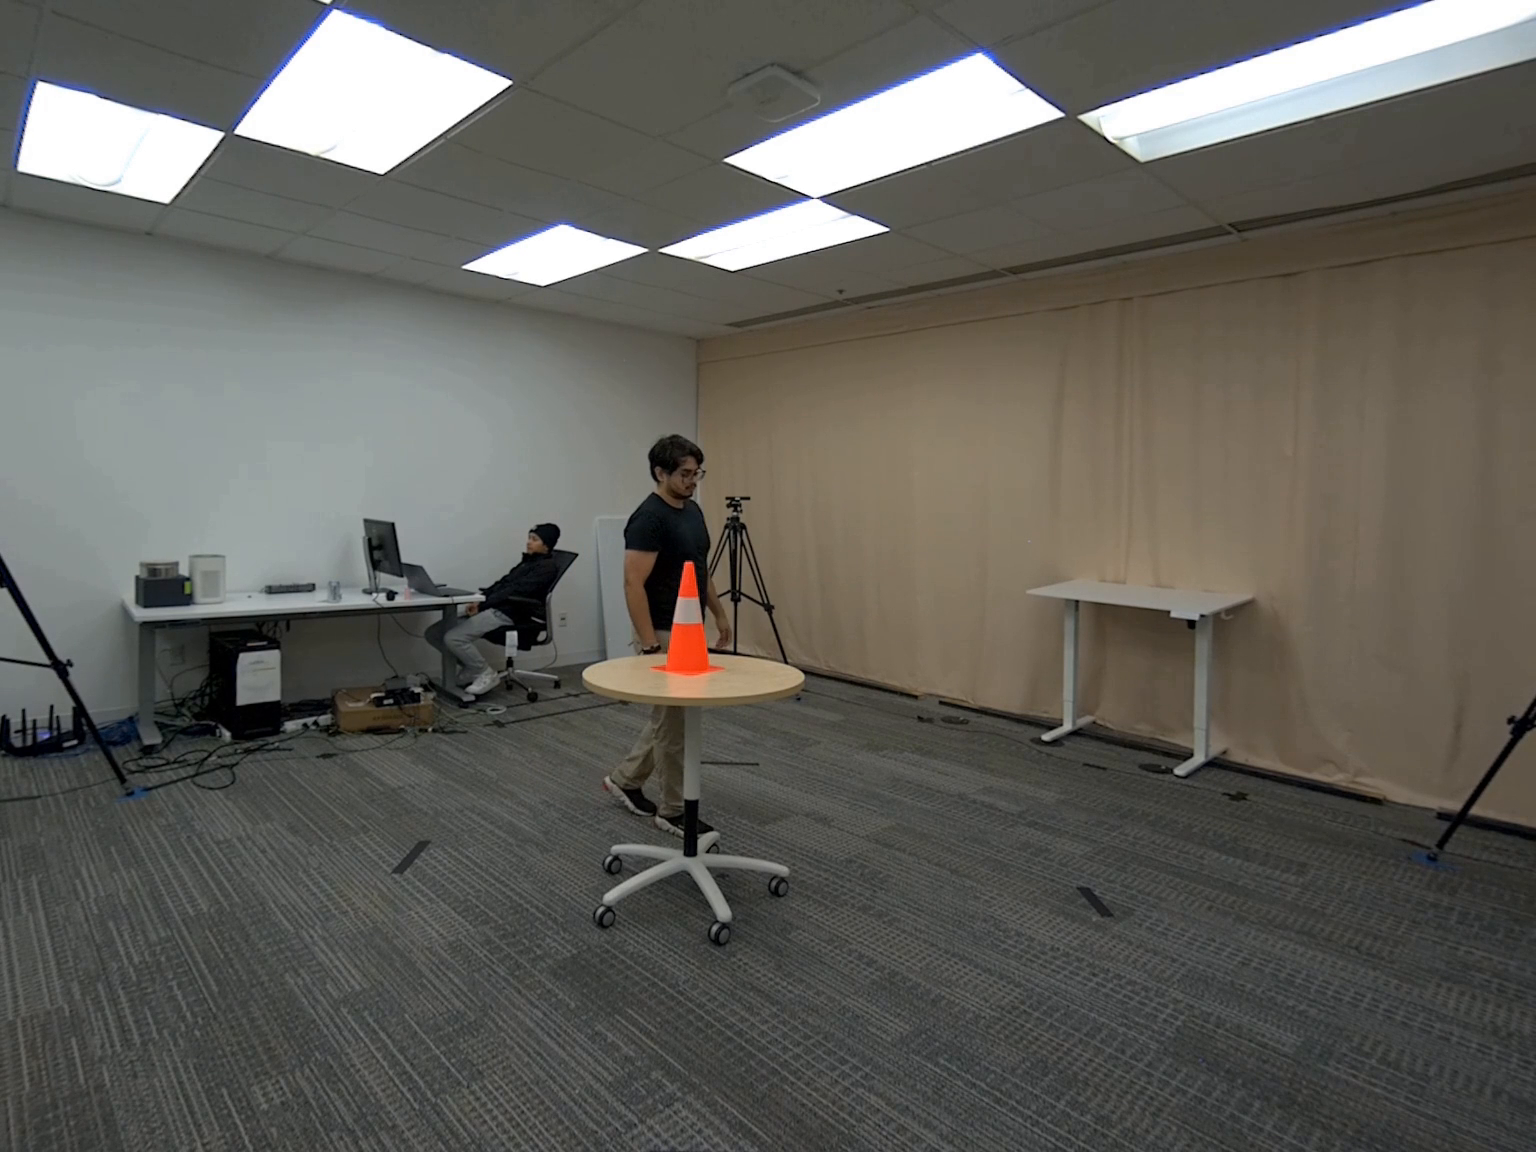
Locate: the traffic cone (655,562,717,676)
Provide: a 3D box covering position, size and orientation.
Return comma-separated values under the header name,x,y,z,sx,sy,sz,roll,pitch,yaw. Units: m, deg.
name,x,y,z,sx,sy,sz,roll,pitch,yaw
traffic cone,-0.286,0.144,2.985,0.208,0.383,0.200,5,5,39
